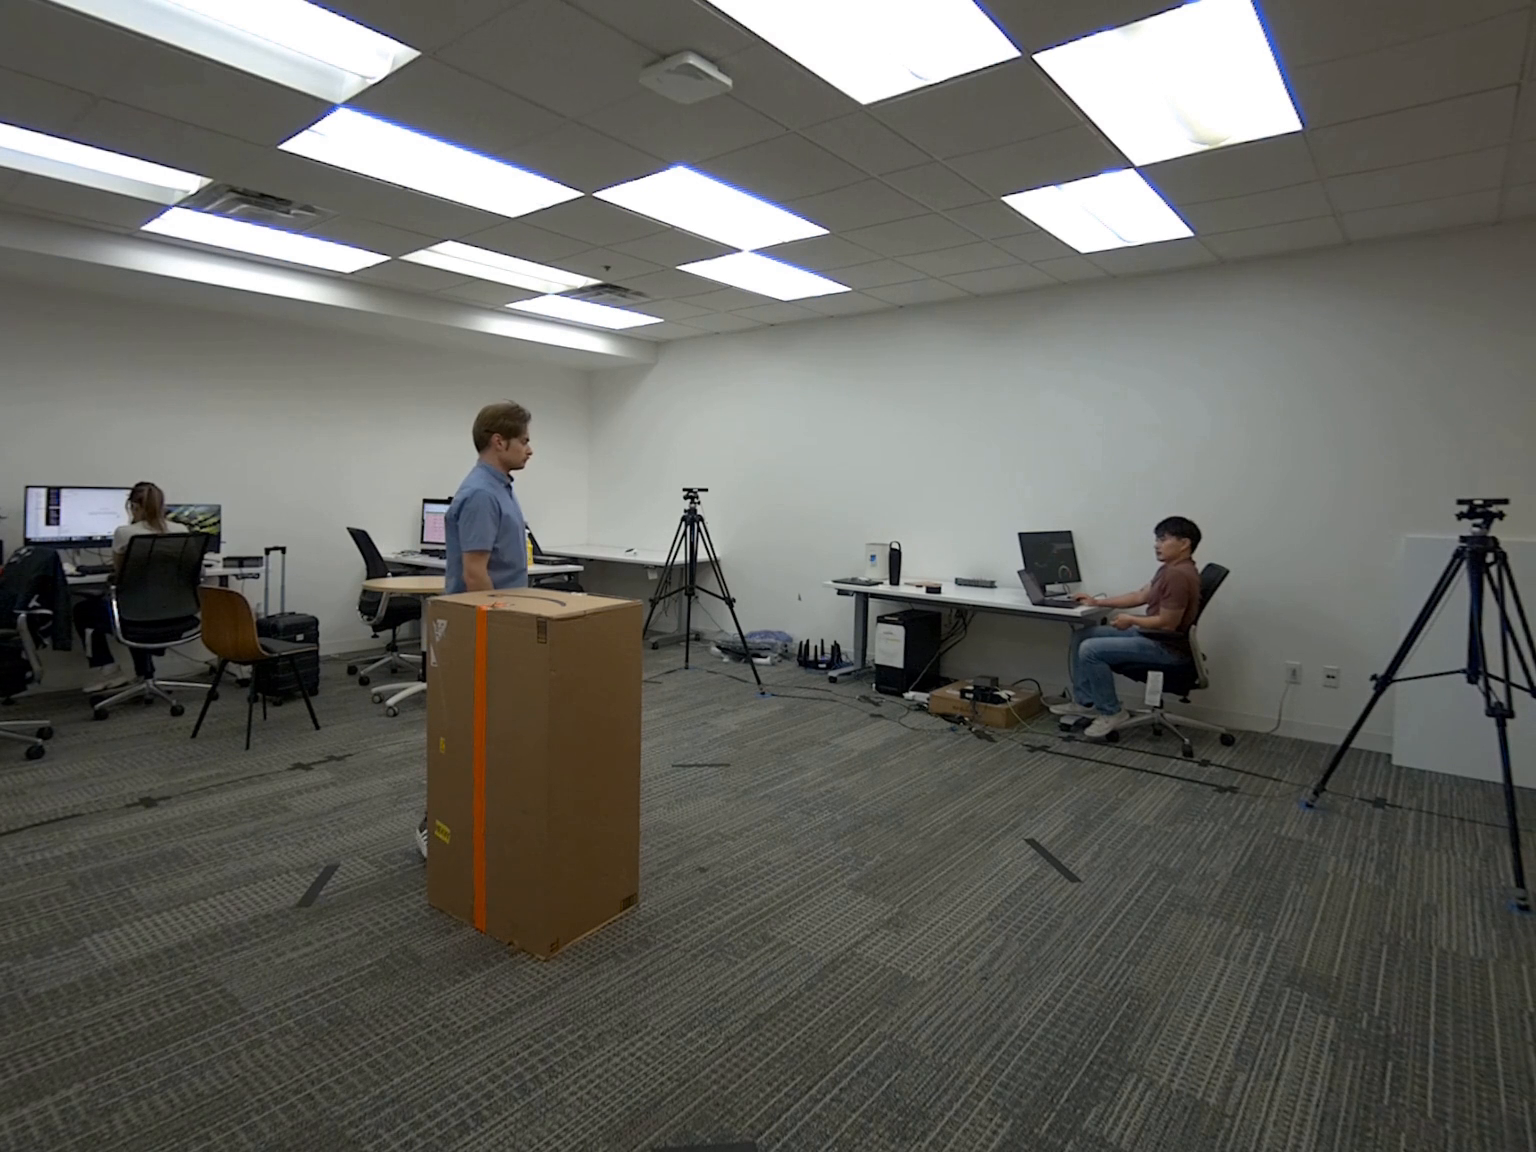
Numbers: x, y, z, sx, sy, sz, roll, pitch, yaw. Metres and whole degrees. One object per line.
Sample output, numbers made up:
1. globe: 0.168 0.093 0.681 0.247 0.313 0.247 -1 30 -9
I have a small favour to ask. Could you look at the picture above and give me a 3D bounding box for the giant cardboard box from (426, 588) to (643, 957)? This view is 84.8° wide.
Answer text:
1. giant cardboard box: -0.777 0.585 2.783 0.596 1.023 0.414 4 4 35
